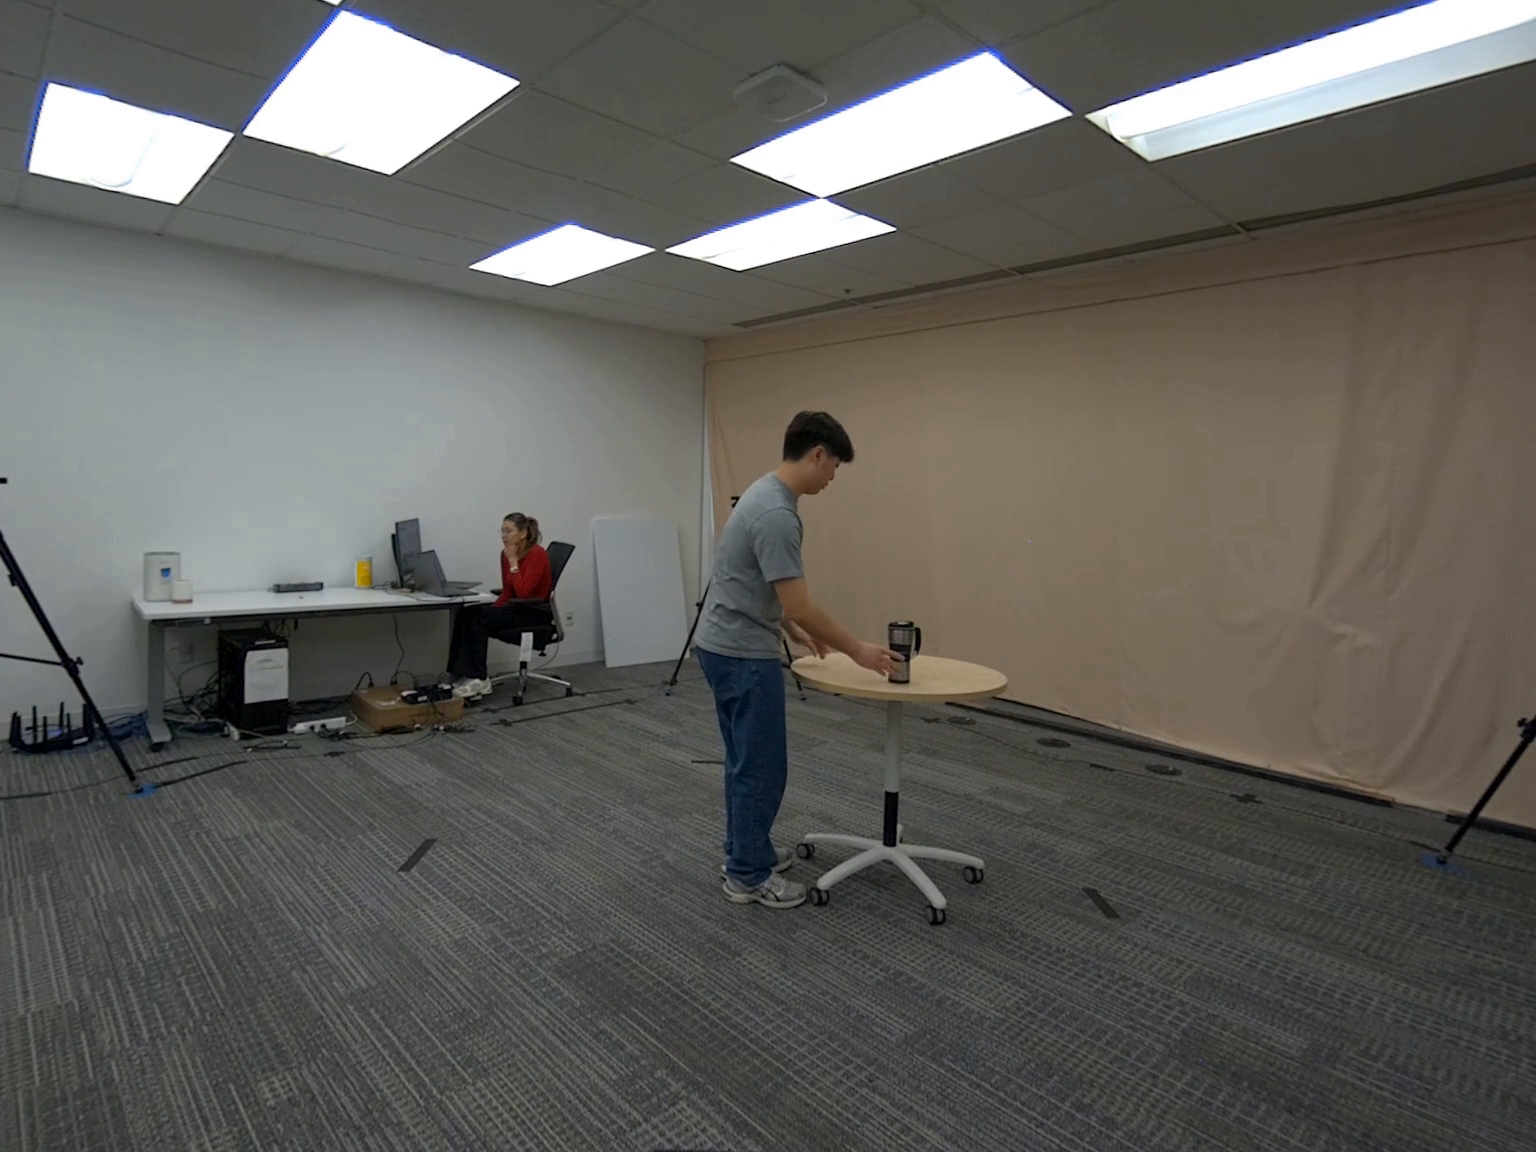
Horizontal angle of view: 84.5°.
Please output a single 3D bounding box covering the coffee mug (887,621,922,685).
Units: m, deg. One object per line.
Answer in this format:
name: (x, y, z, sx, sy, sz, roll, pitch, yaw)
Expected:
coffee mug: (0.460, 0.258, 2.839, 0.122, 0.203, 0.088, -1, -1, -3)
